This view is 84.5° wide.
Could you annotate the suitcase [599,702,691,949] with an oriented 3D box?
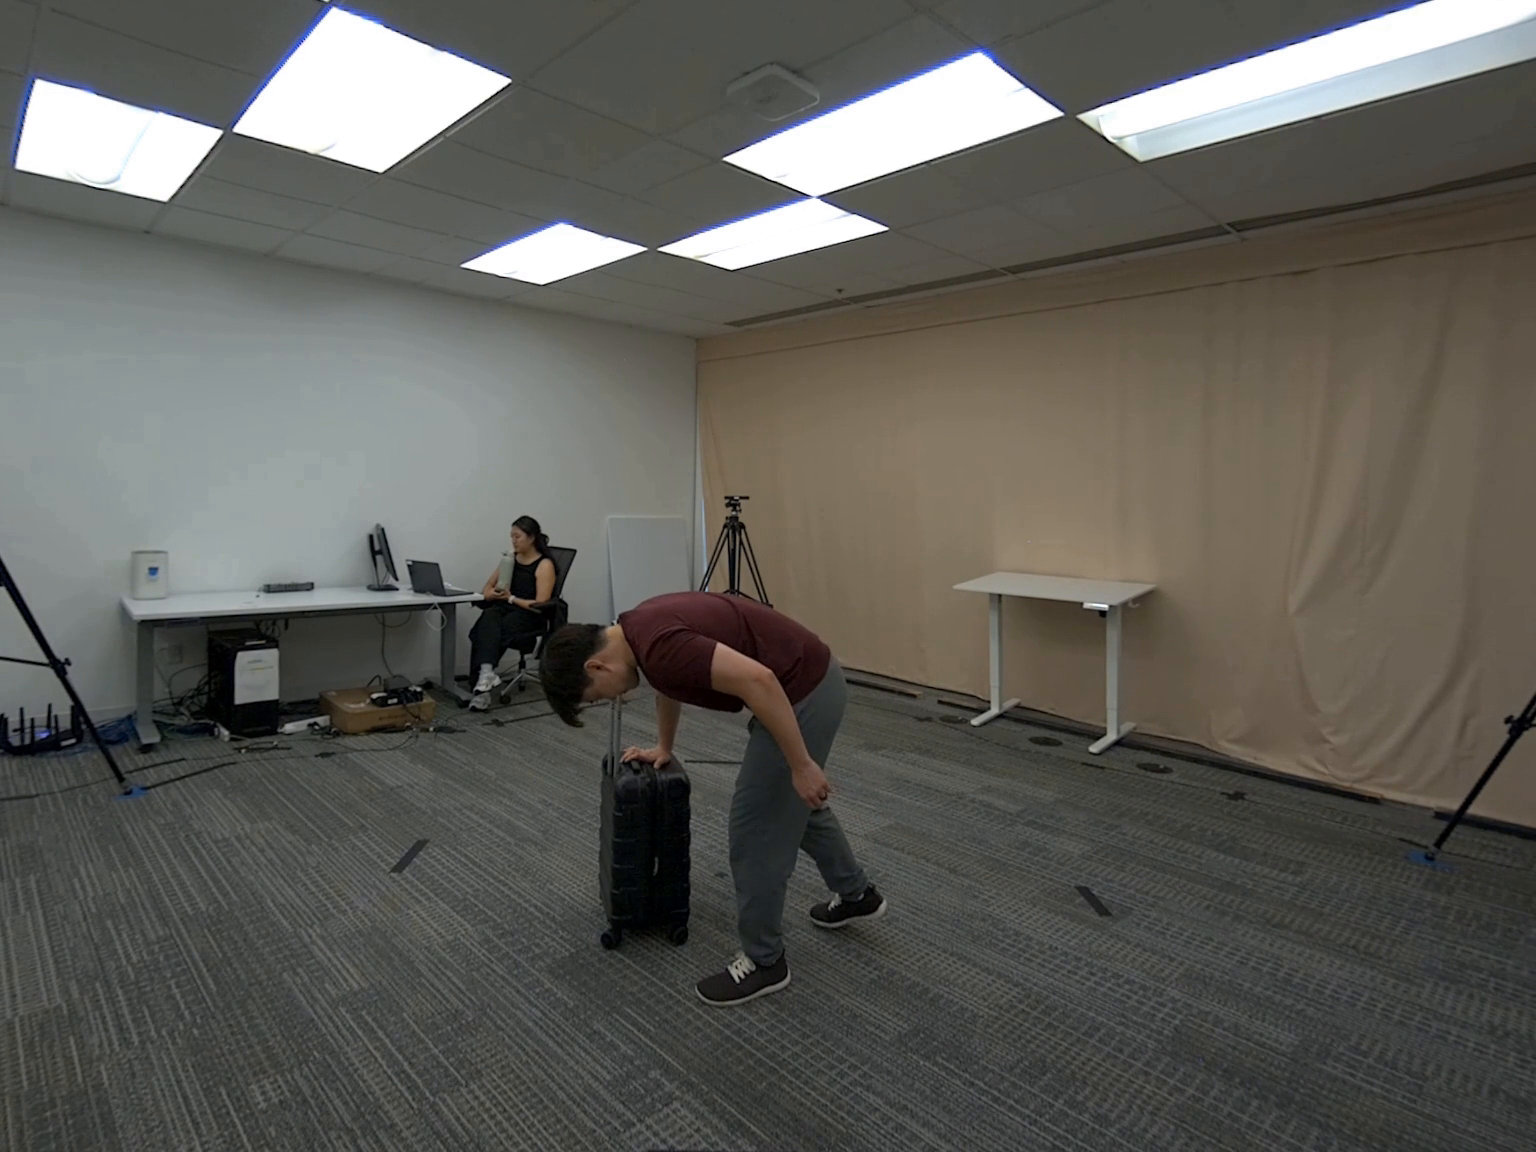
[{"bbox_3d":[-0.402,0.659,2.732,0.254,0.976,0.389,2,4,-14],"label":"suitcase"}]
